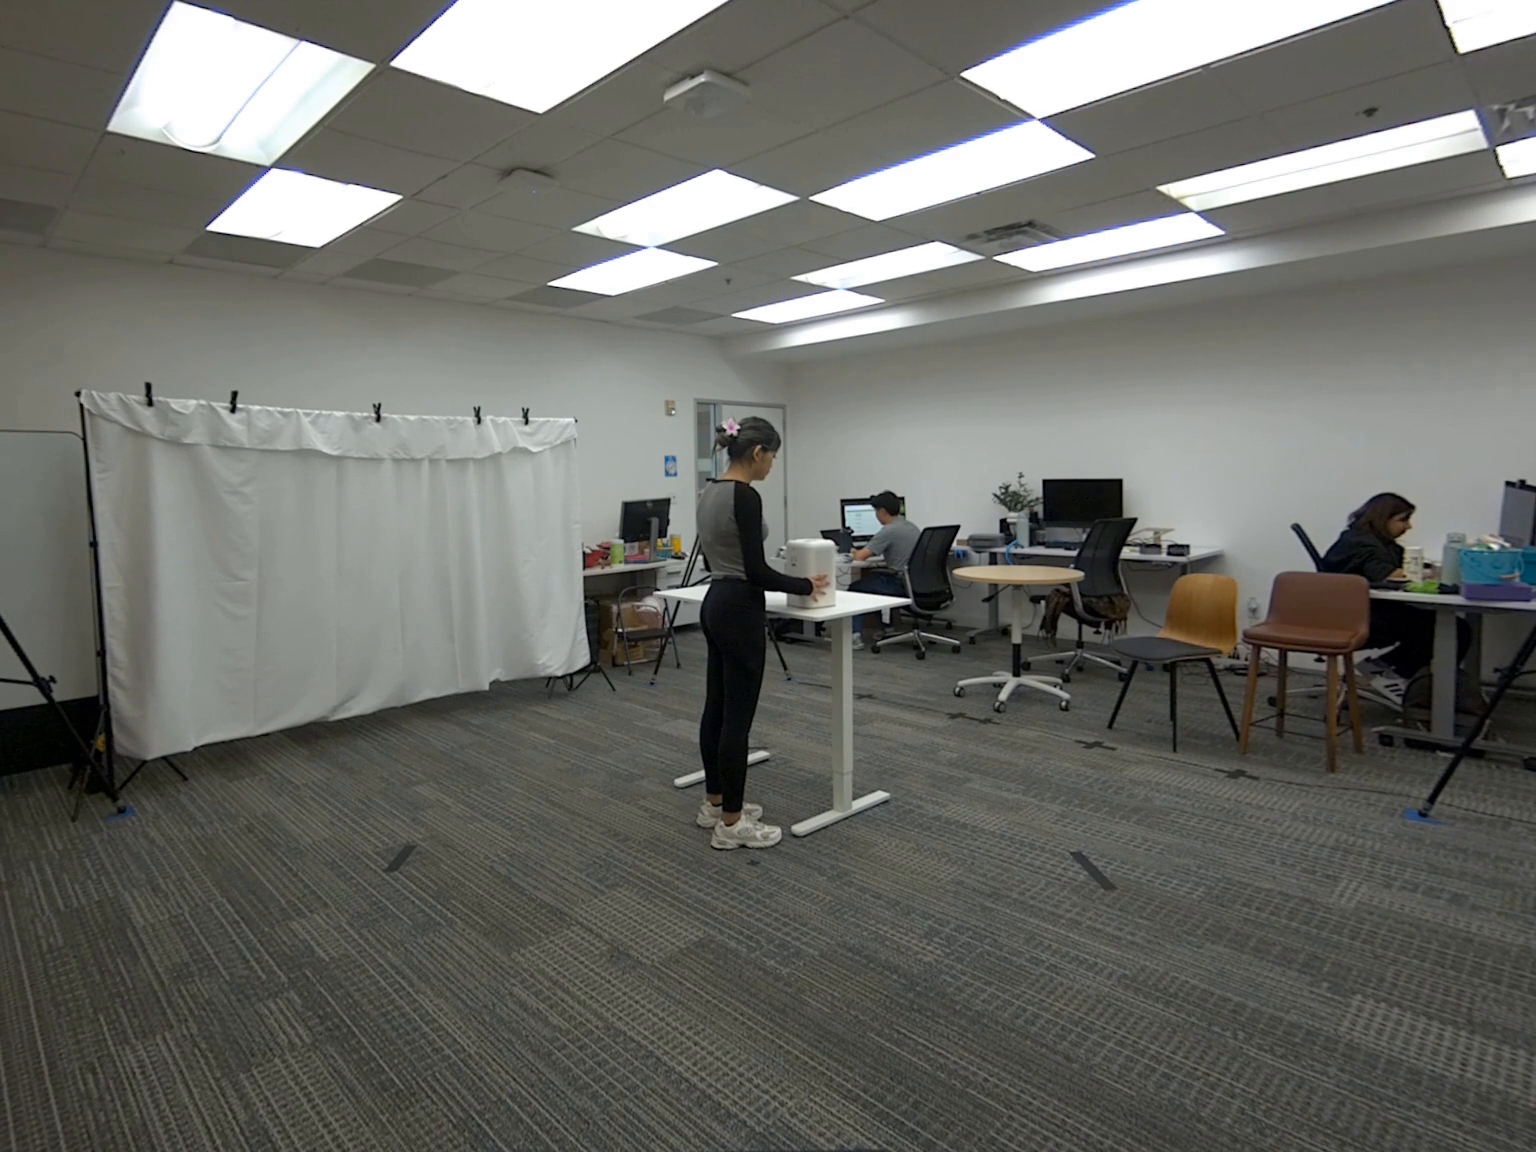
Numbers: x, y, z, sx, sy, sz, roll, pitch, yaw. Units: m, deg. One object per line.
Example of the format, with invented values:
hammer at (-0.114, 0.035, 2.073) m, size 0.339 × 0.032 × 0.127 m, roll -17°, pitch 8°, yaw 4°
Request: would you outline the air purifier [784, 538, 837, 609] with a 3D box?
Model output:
air purifier at (0.173, -0.014, 3.445) m, size 0.167 × 0.264 × 0.176 m, roll -4°, pitch 7°, yaw -33°
